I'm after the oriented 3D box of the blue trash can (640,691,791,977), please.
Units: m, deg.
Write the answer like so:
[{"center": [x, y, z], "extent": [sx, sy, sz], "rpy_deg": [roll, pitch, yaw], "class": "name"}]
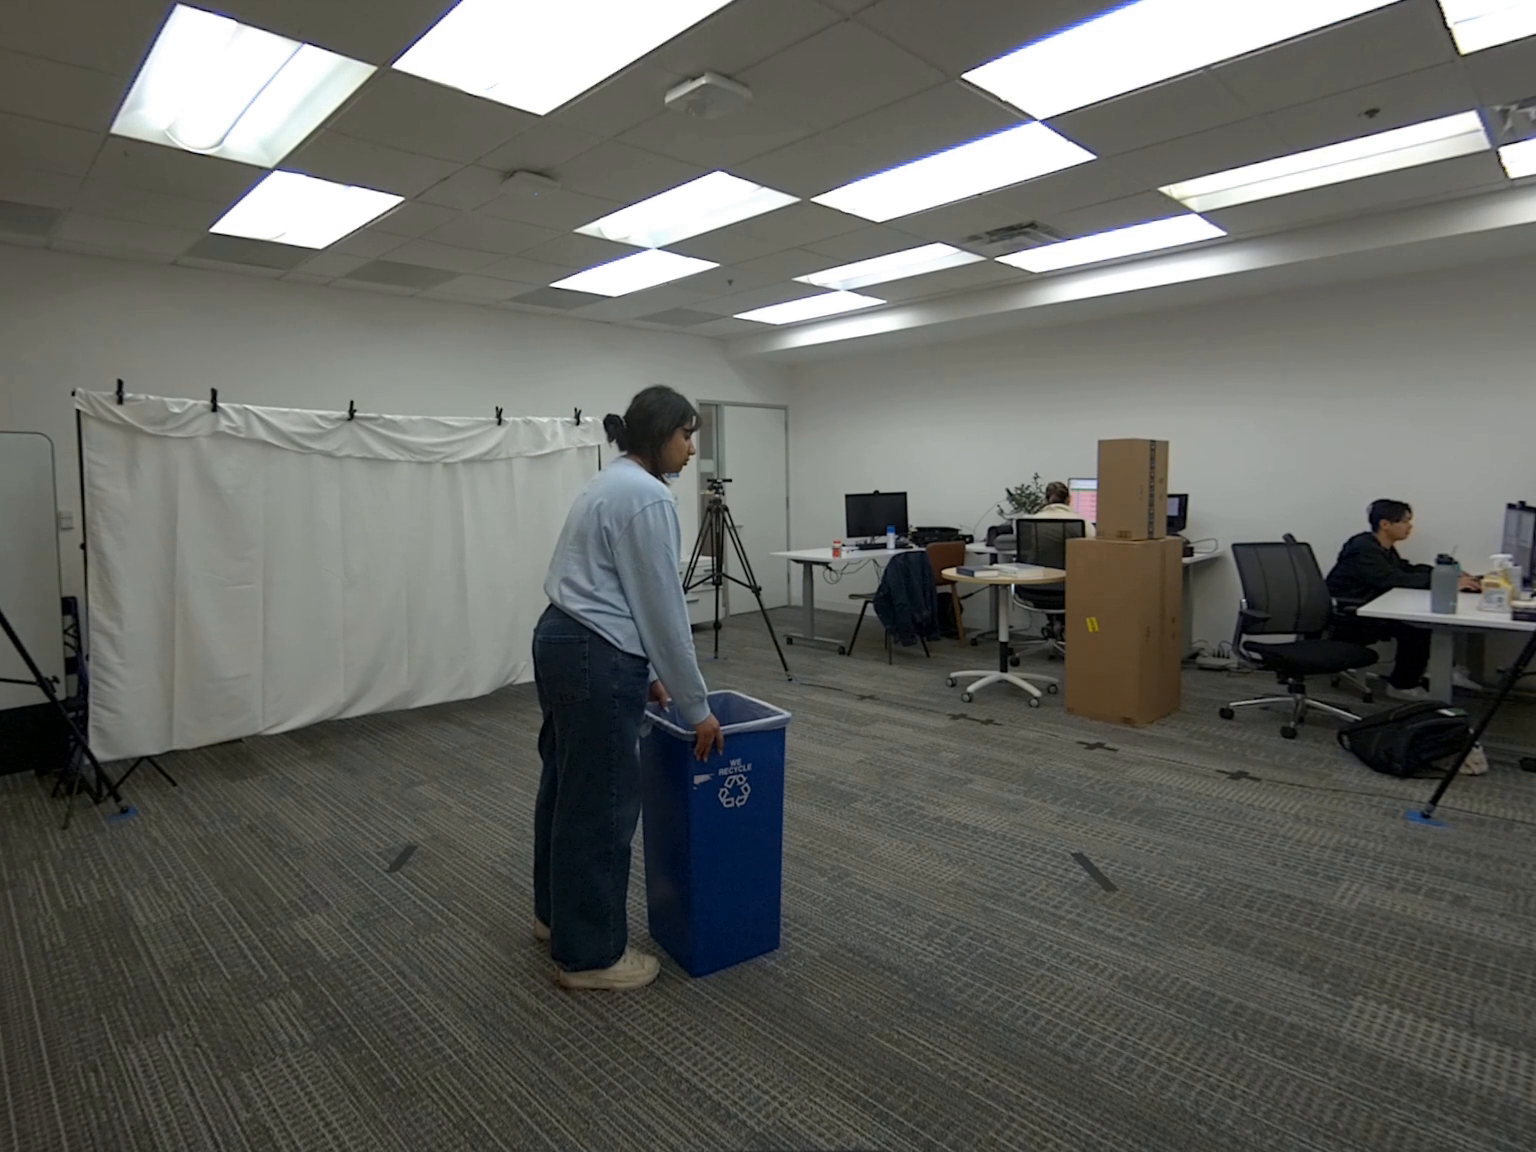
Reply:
[{"center": [-0.160, 0.752, 2.583], "extent": [0.365, 0.710, 0.389], "rpy_deg": [-4, 6, -33], "class": "blue trash can"}]
